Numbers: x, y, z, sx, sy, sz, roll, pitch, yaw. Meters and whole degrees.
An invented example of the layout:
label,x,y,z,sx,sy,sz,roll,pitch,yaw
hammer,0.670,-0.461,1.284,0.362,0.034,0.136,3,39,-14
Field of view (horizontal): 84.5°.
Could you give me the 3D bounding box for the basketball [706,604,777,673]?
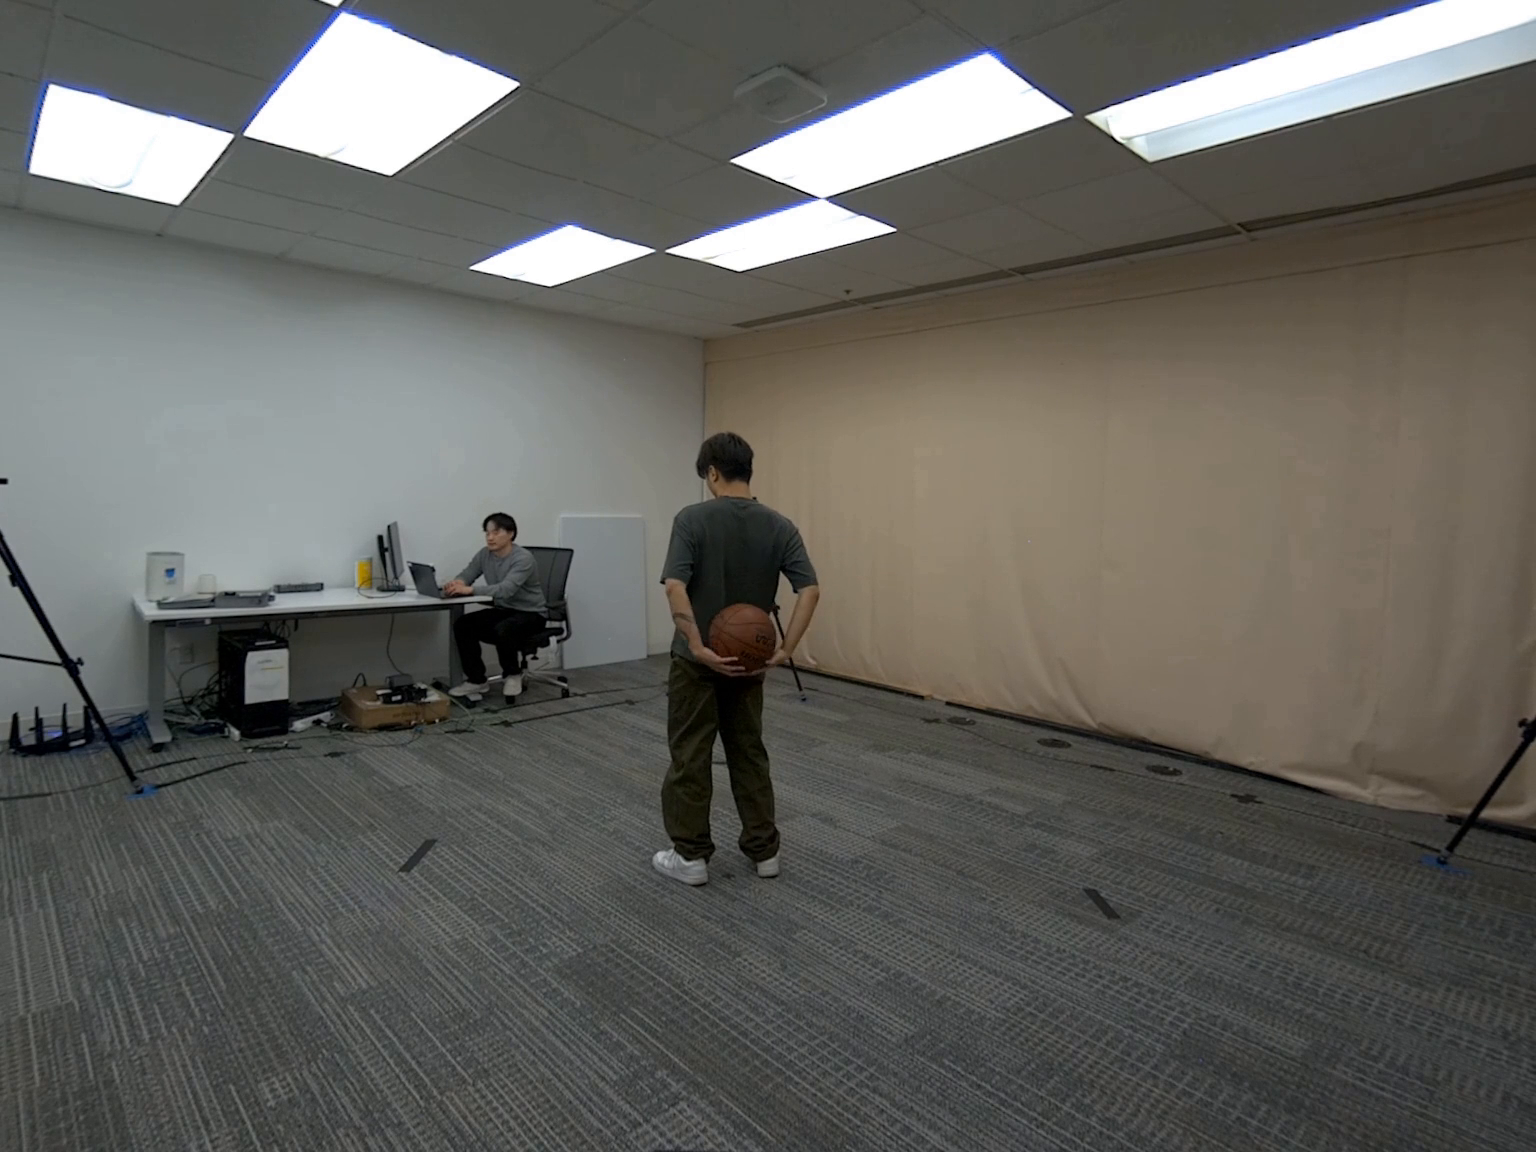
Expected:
label,x,y,z,sx,sy,sz,roll,pitch,yaw
basketball,-0.098,0.206,2.949,0.236,0.235,0.237,1,4,-1
